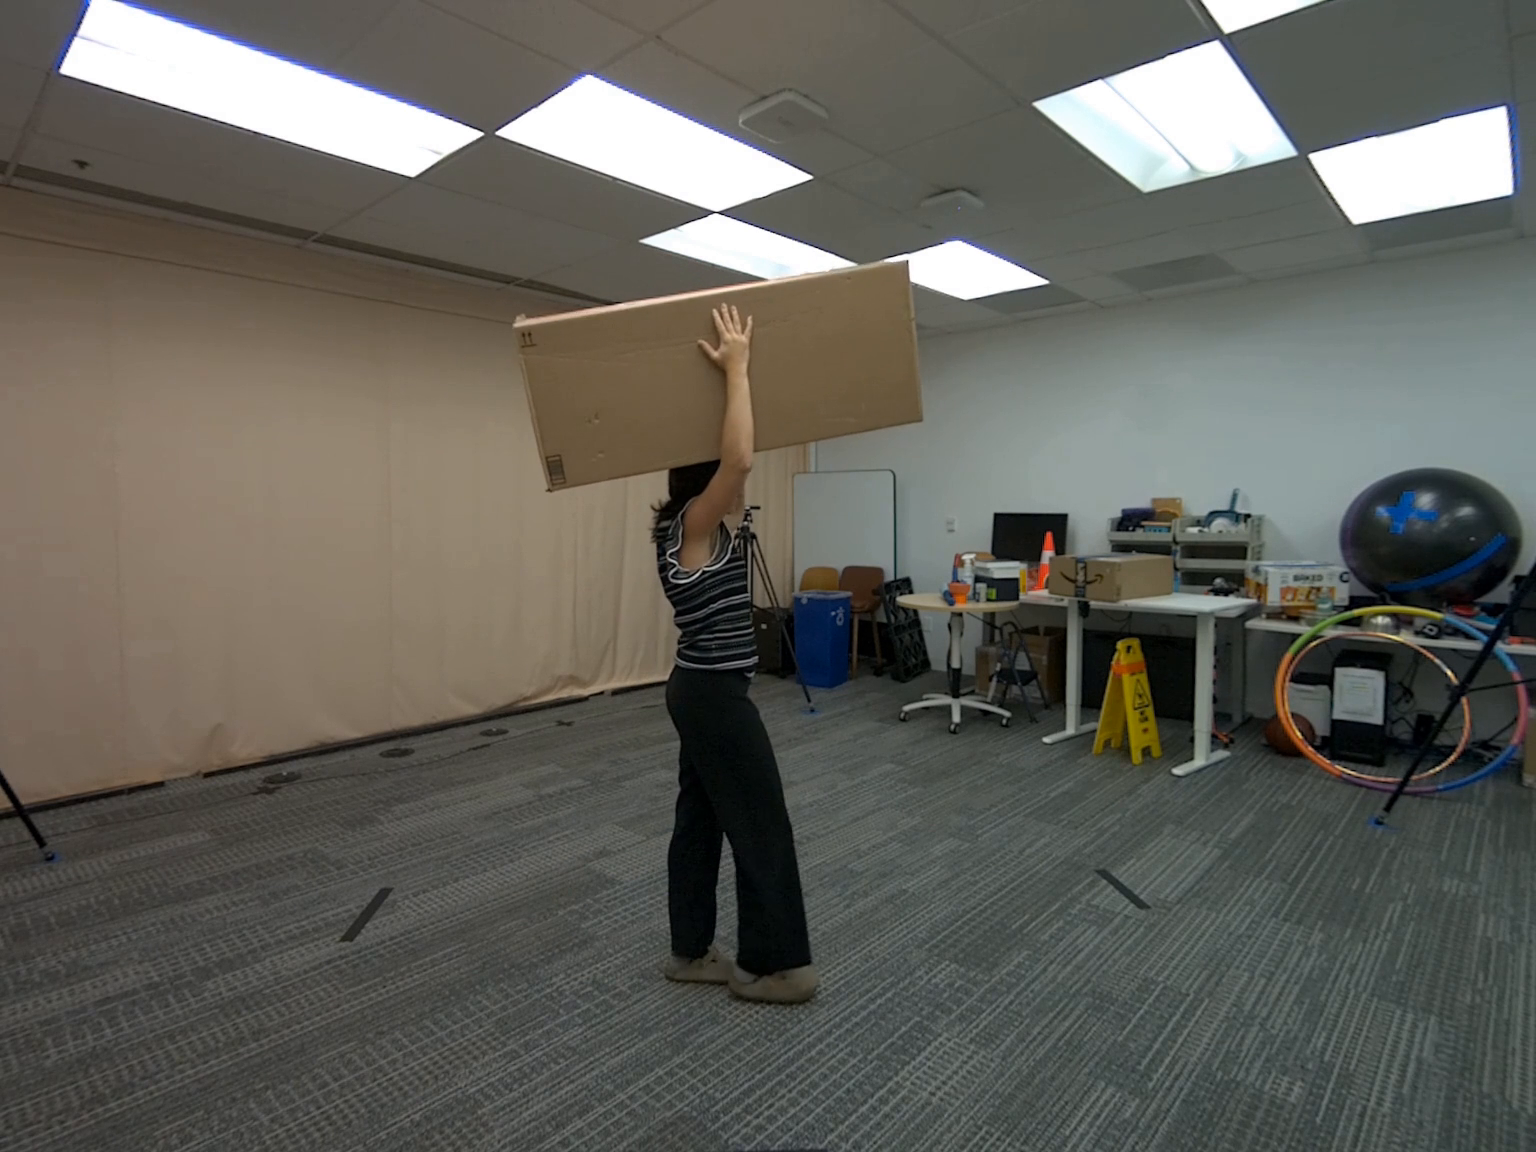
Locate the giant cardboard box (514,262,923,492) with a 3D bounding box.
[{"bbox_3d":[-0.160,-0.598,2.425,1.019,0.420,0.589,-11,18,-7],"label":"giant cardboard box"}]
